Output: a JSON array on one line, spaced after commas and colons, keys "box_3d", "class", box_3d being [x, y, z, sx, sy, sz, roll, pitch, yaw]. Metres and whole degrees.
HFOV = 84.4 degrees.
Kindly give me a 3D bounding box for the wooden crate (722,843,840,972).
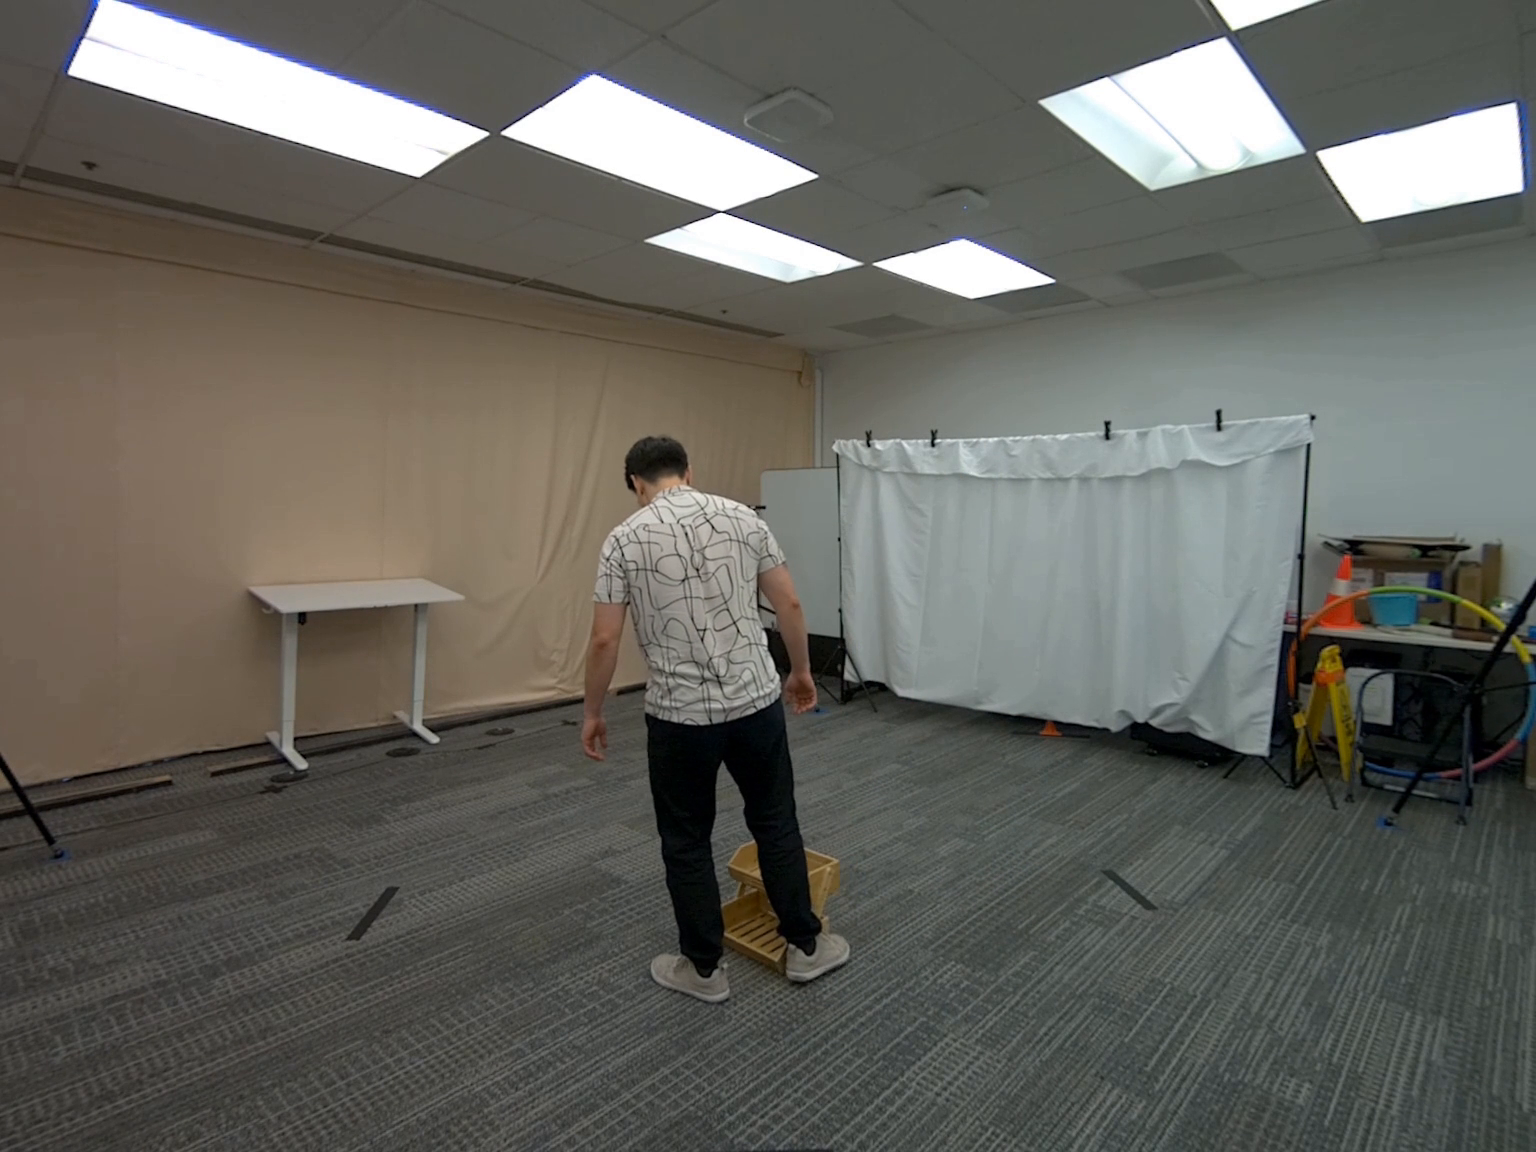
[{"box_3d": [0.018, 1.032, 2.688, 0.335, 0.273, 0.292, 4, 5, 43], "class": "wooden crate"}]
